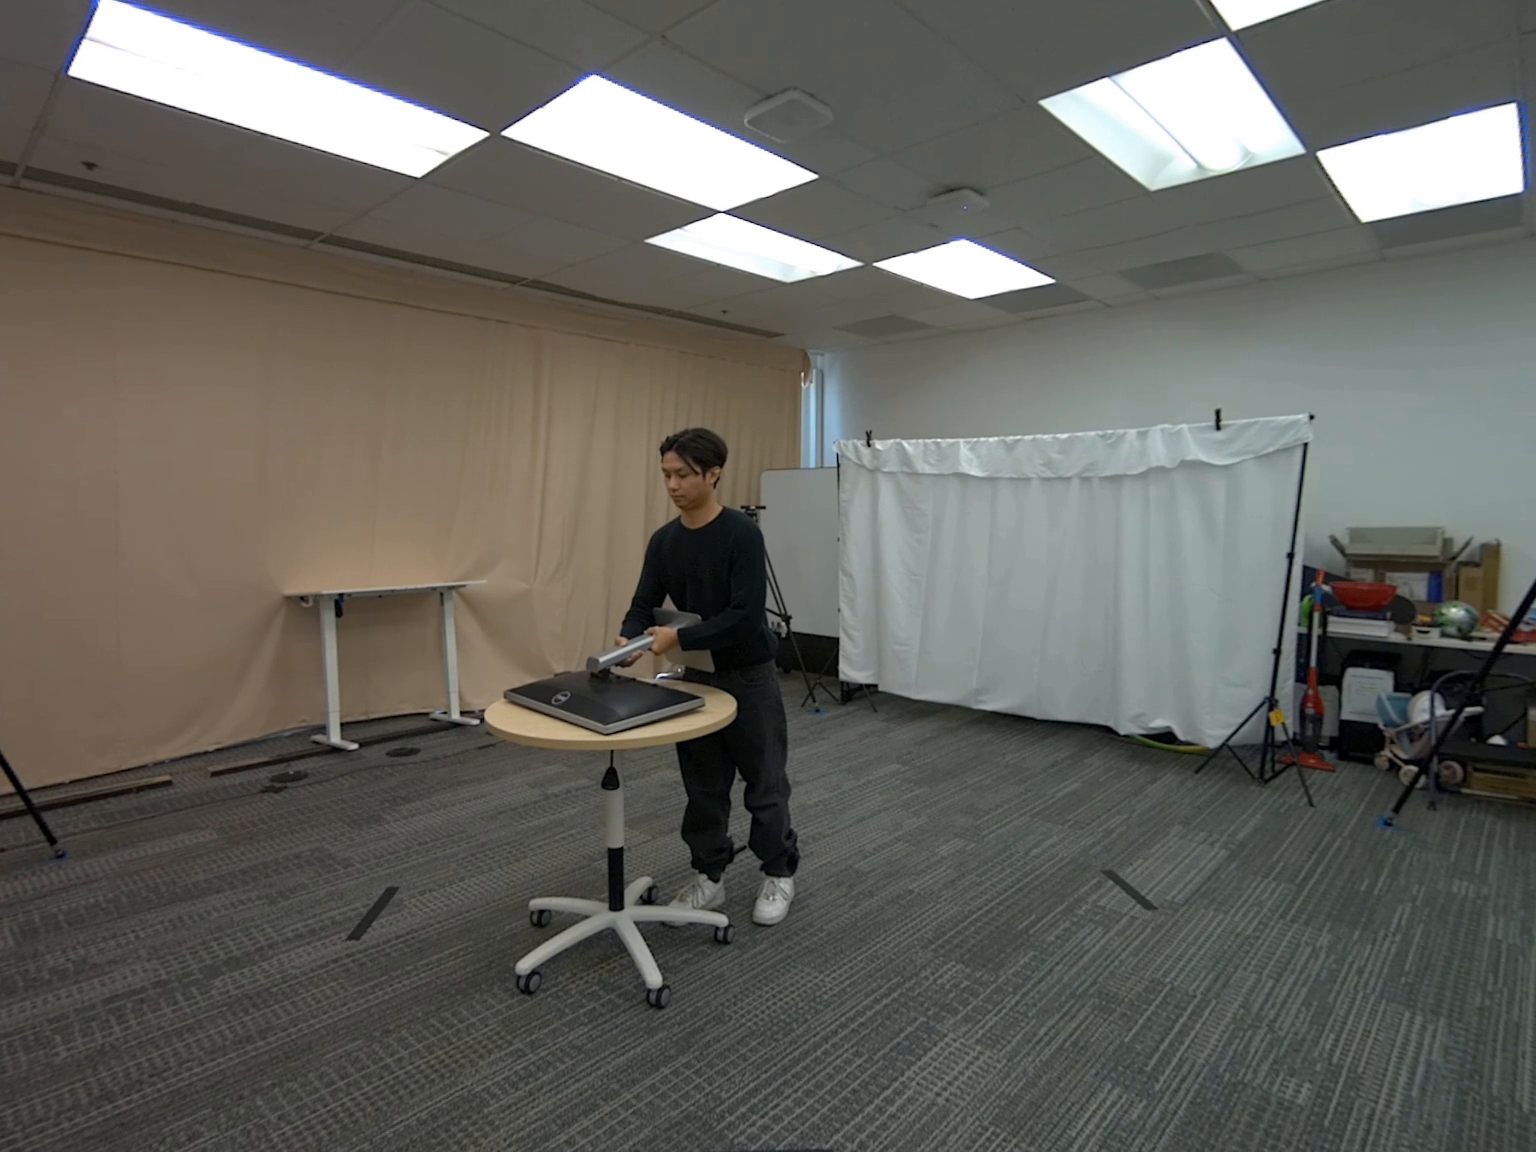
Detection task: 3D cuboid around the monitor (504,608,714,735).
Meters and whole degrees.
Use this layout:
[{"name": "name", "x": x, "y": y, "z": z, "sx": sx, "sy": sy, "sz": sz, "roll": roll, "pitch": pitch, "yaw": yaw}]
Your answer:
[{"name": "monitor", "x": -0.454, "y": 0.306, "z": 2.615, "sx": 0.512, "sy": 0.185, "sz": 0.557, "roll": -27, "pitch": 21, "yaw": -39}]
